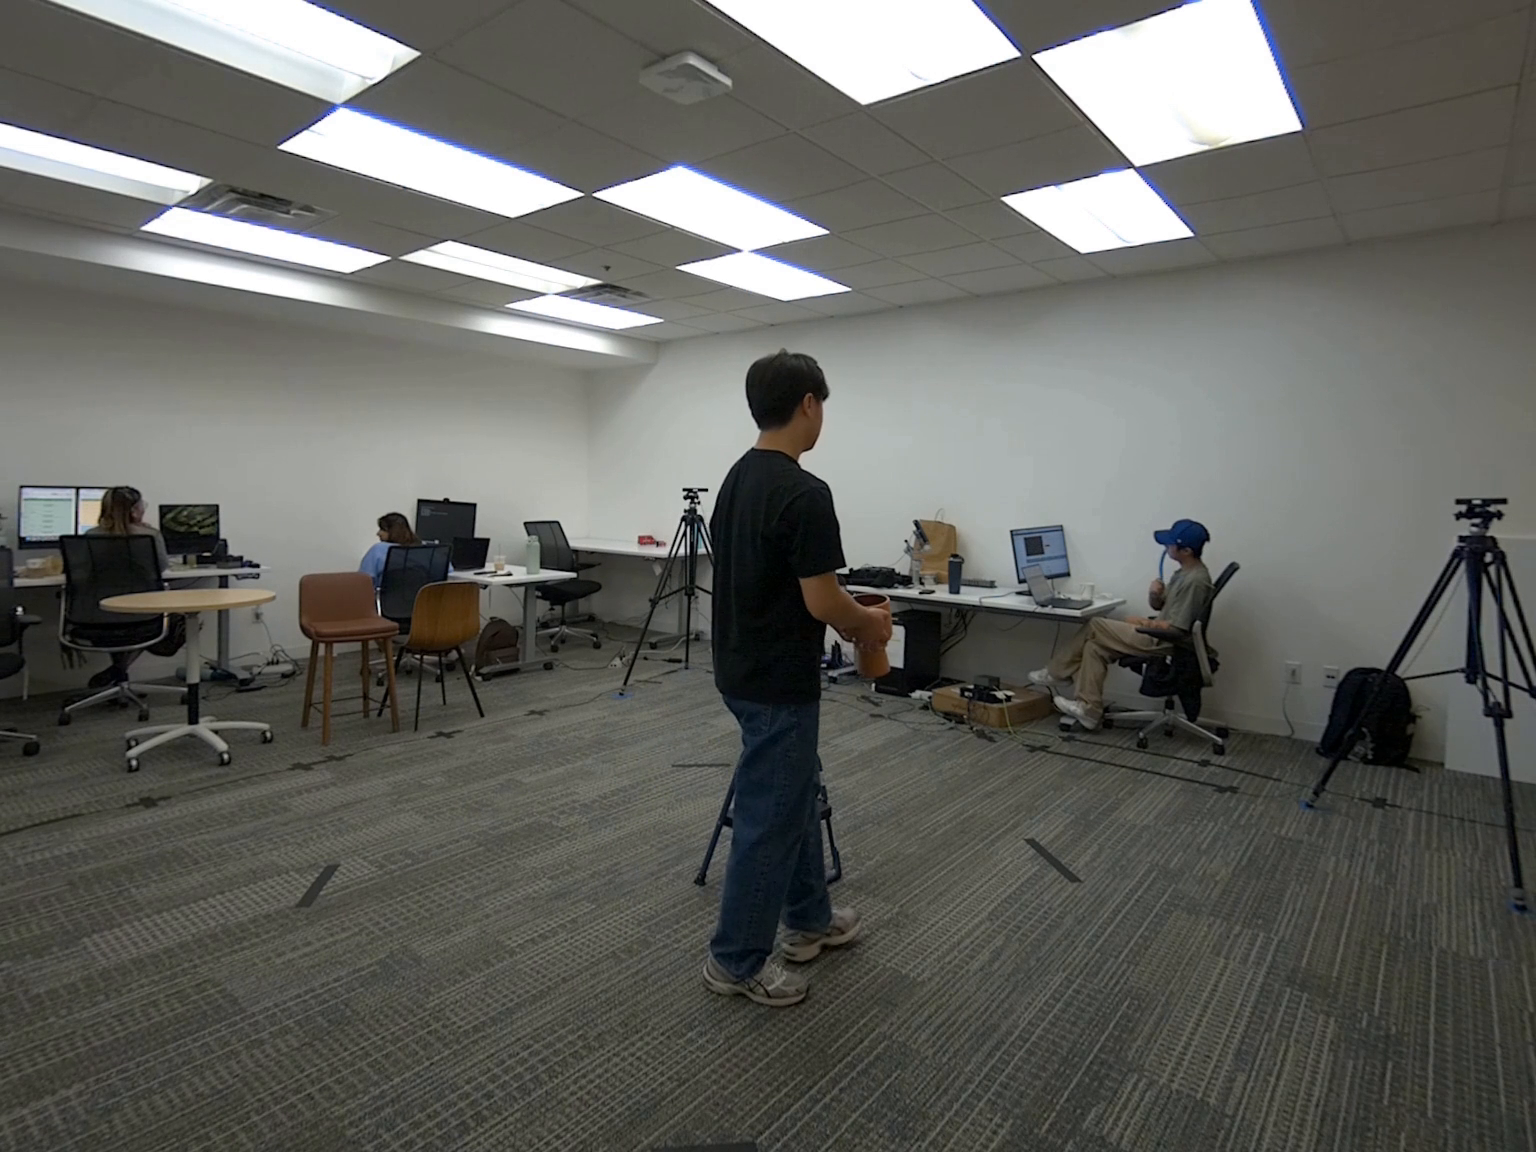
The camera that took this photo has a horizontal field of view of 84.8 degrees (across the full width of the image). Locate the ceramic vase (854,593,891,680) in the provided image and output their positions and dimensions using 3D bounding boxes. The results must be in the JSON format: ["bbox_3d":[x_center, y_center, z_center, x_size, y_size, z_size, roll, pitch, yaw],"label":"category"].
[{"bbox_3d":[0.295,0.178,2.480,0.138,0.217,0.156,-1,12,29],"label":"ceramic vase"}]
